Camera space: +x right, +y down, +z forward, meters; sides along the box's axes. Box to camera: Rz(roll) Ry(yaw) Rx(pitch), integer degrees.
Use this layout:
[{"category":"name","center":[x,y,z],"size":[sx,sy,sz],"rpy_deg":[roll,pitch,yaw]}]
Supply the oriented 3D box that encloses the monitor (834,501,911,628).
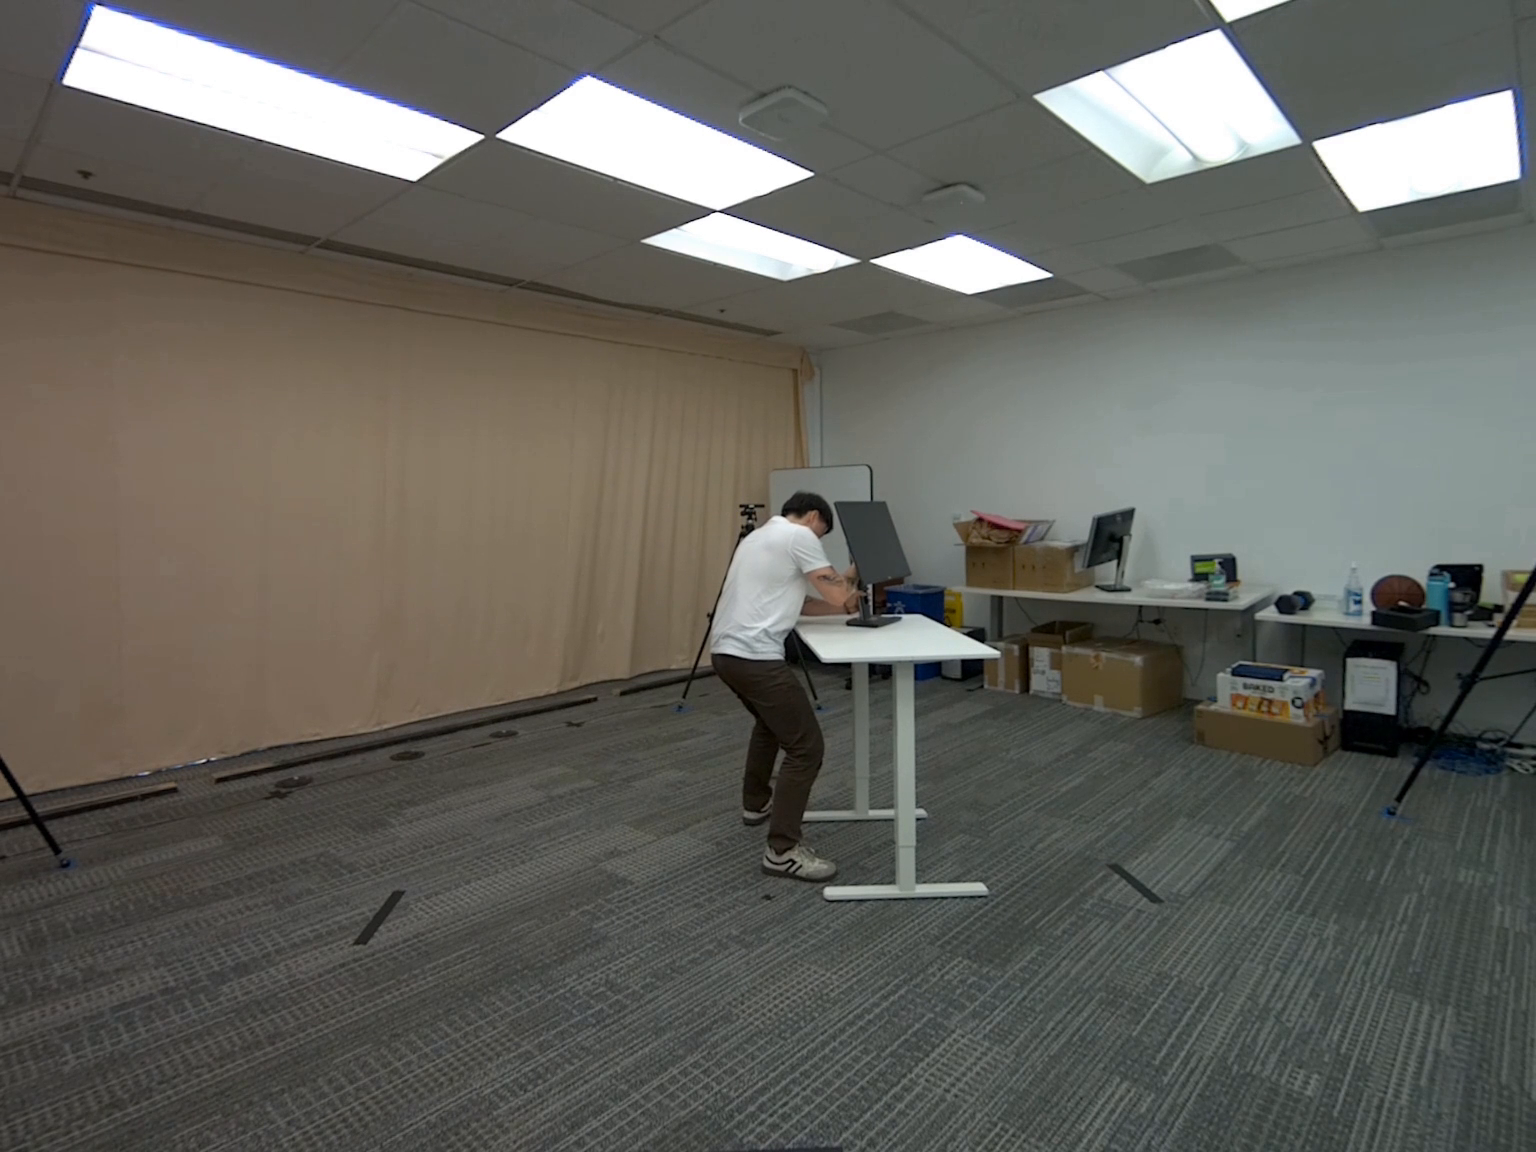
[{"category":"monitor","center":[0.429,-0.054,3.578],"size":[0.192,0.522,0.526],"rpy_deg":[-5,1,27]}]
